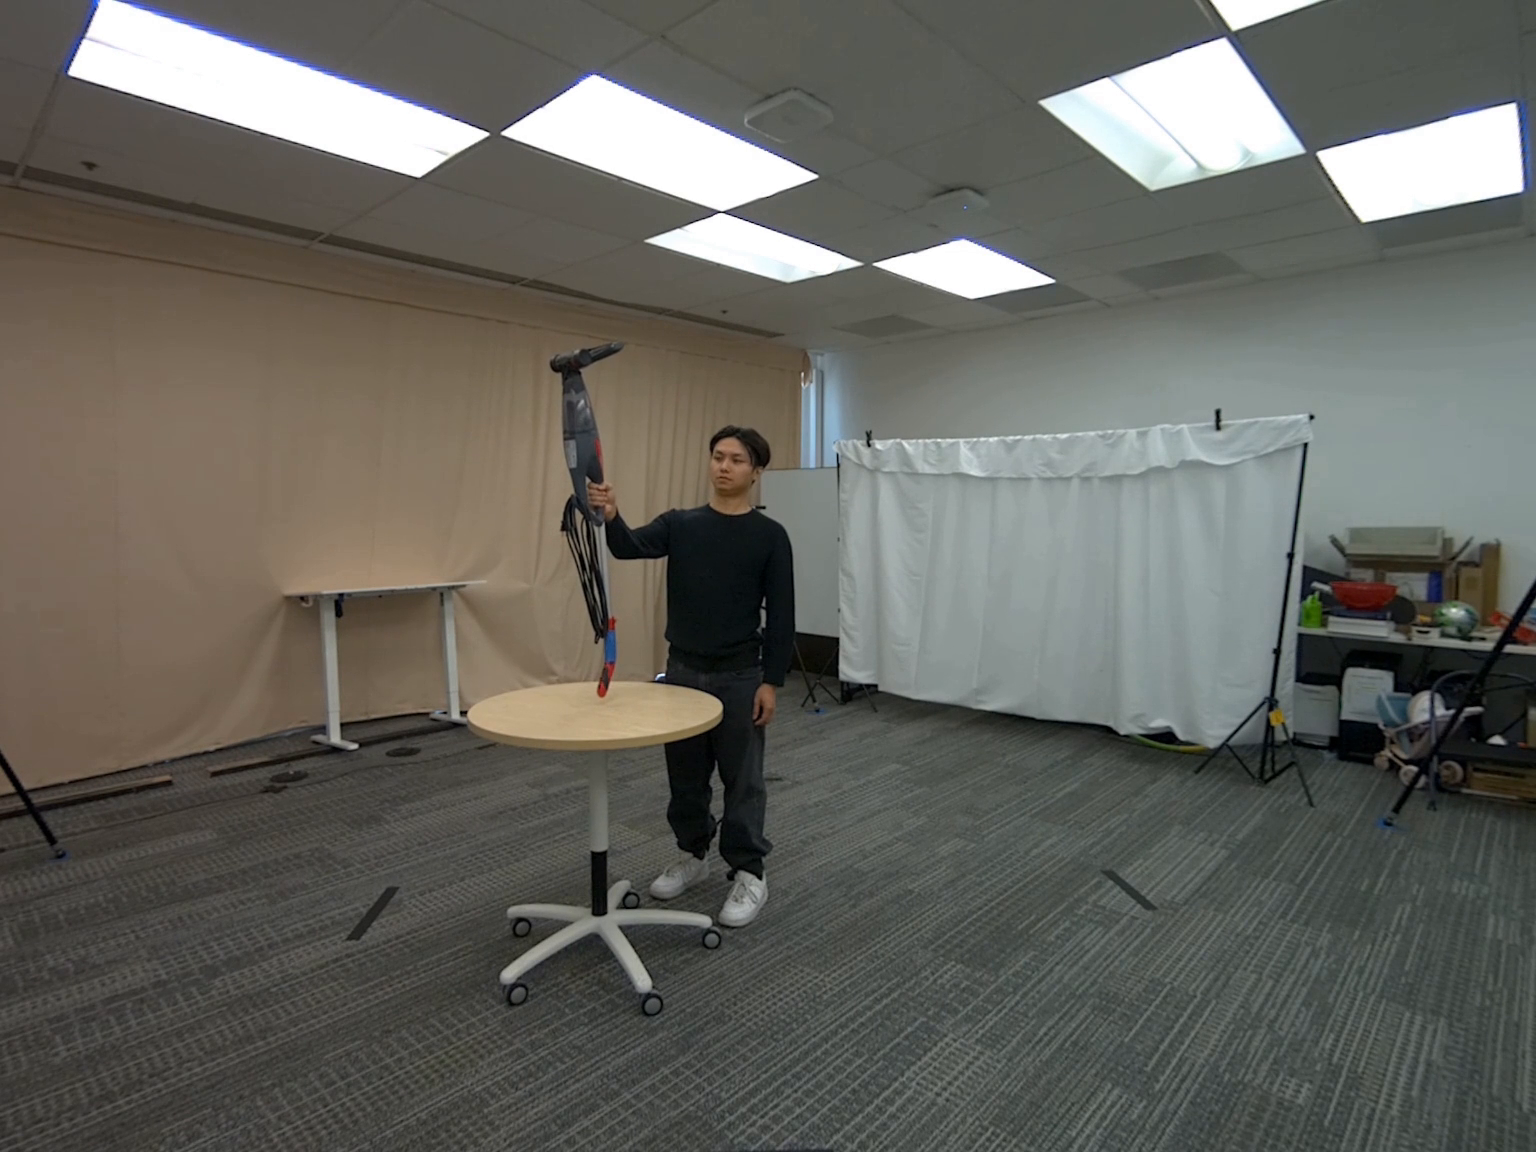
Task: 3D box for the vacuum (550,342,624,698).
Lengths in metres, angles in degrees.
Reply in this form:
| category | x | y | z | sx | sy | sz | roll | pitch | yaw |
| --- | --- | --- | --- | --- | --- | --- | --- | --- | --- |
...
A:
| category | x | y | z | sx | sy | sz | roll | pitch | yaw |
| --- | --- | --- | --- | --- | --- | --- | --- | --- | --- |
| vacuum | -0.545 | -0.159 | 2.556 | 0.260 | 1.048 | 0.140 | -2 | 2 | 39 |
